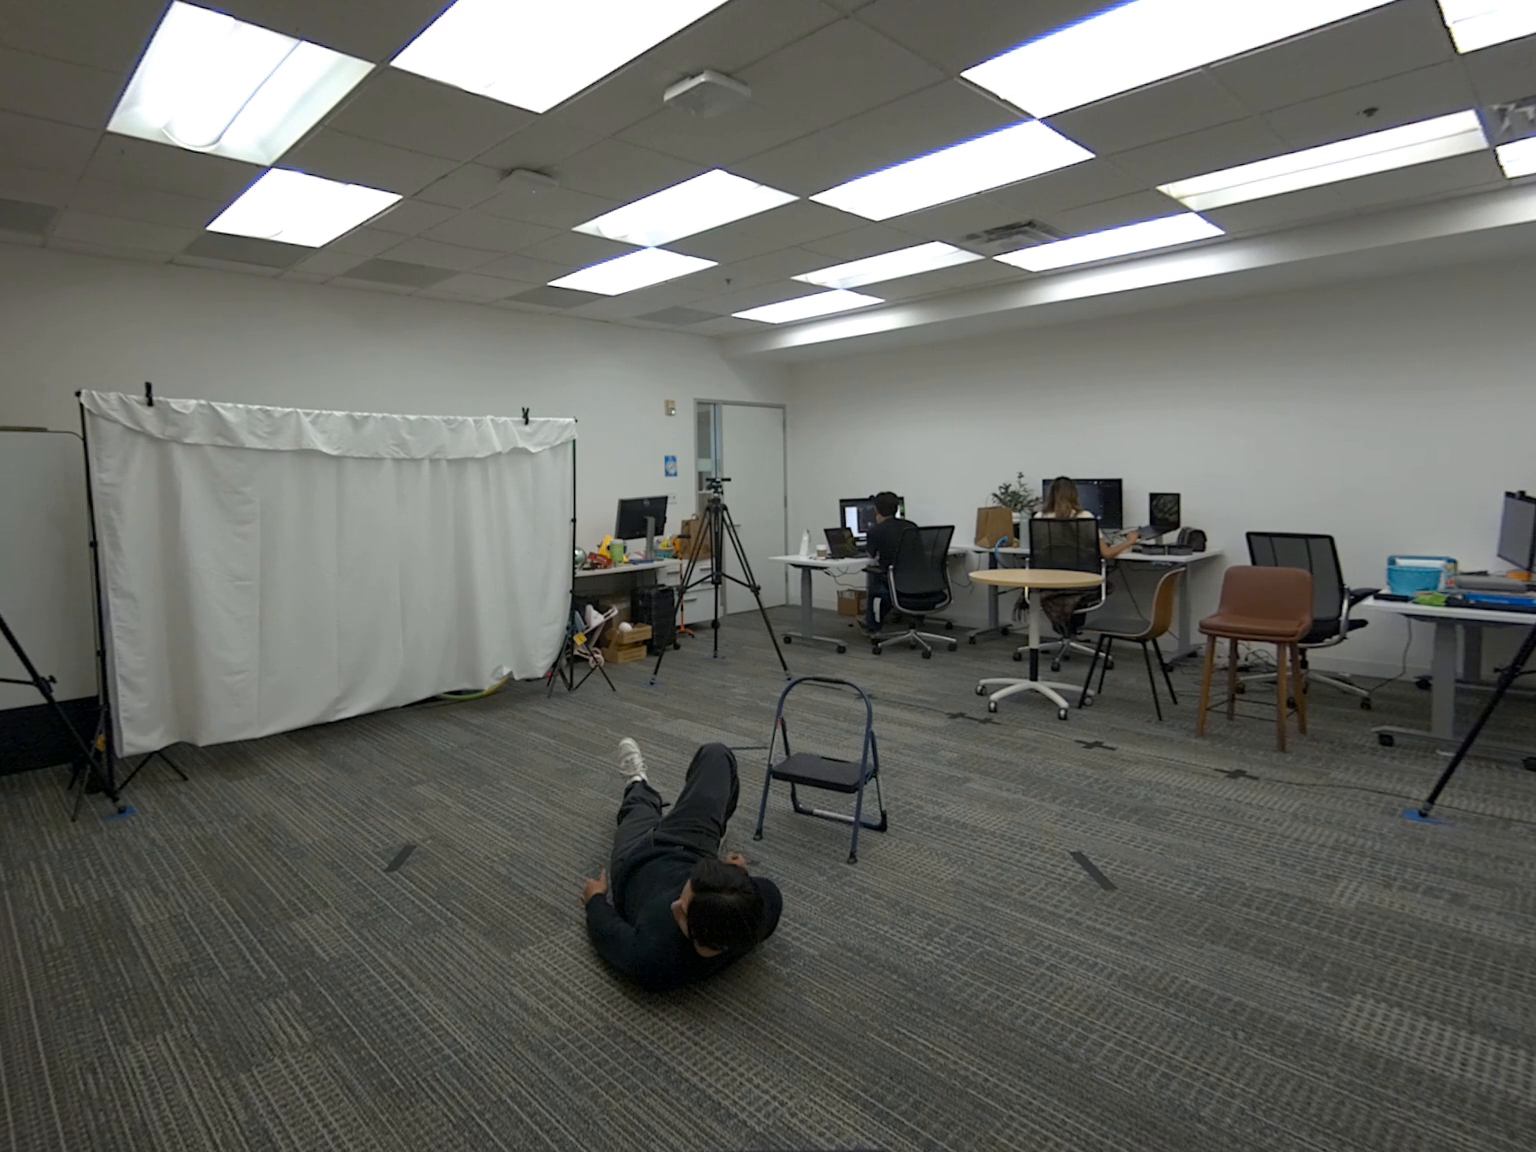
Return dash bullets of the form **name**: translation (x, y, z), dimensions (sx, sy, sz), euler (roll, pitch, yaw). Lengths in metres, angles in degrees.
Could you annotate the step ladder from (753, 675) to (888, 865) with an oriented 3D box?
- **step ladder**: translation (0.209, 0.709, 3.322), dimensions (0.442, 0.604, 0.341), euler (2, 5, 32)
